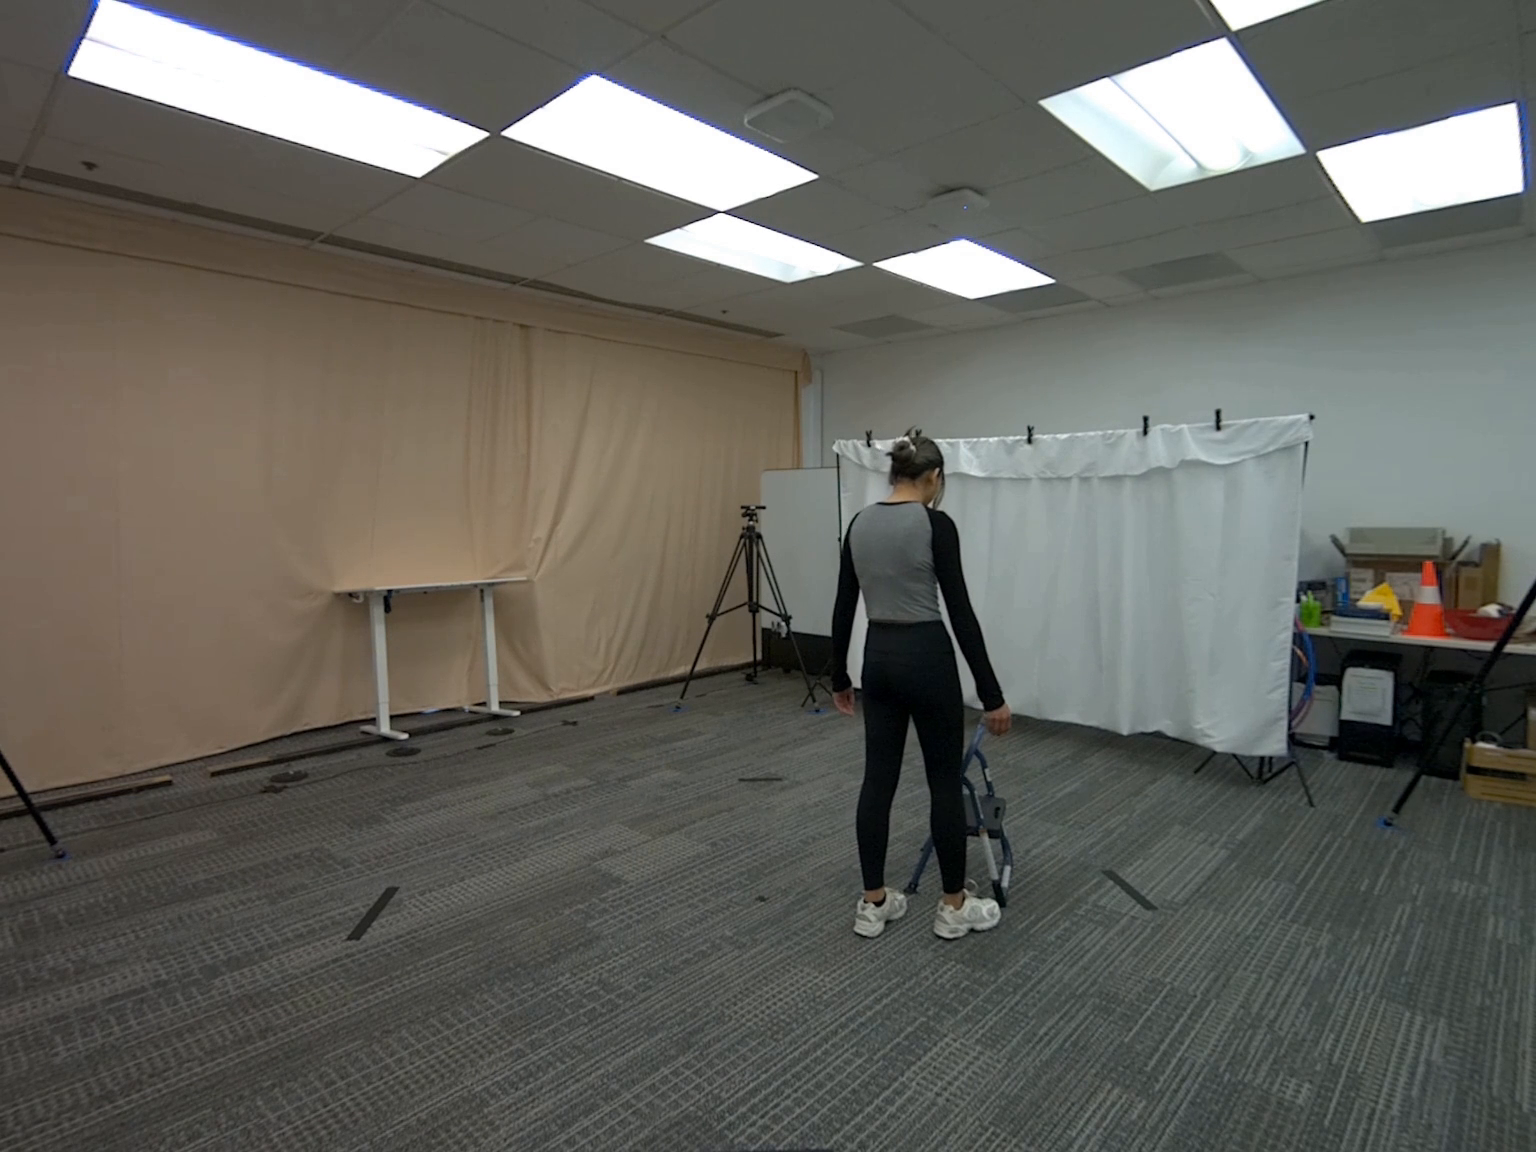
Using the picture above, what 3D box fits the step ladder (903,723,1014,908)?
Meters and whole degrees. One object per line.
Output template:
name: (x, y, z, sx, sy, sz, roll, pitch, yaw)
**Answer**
step ladder: (0.725, 0.827, 3.141, 0.357, 0.605, 0.422, 1, 4, 21)
